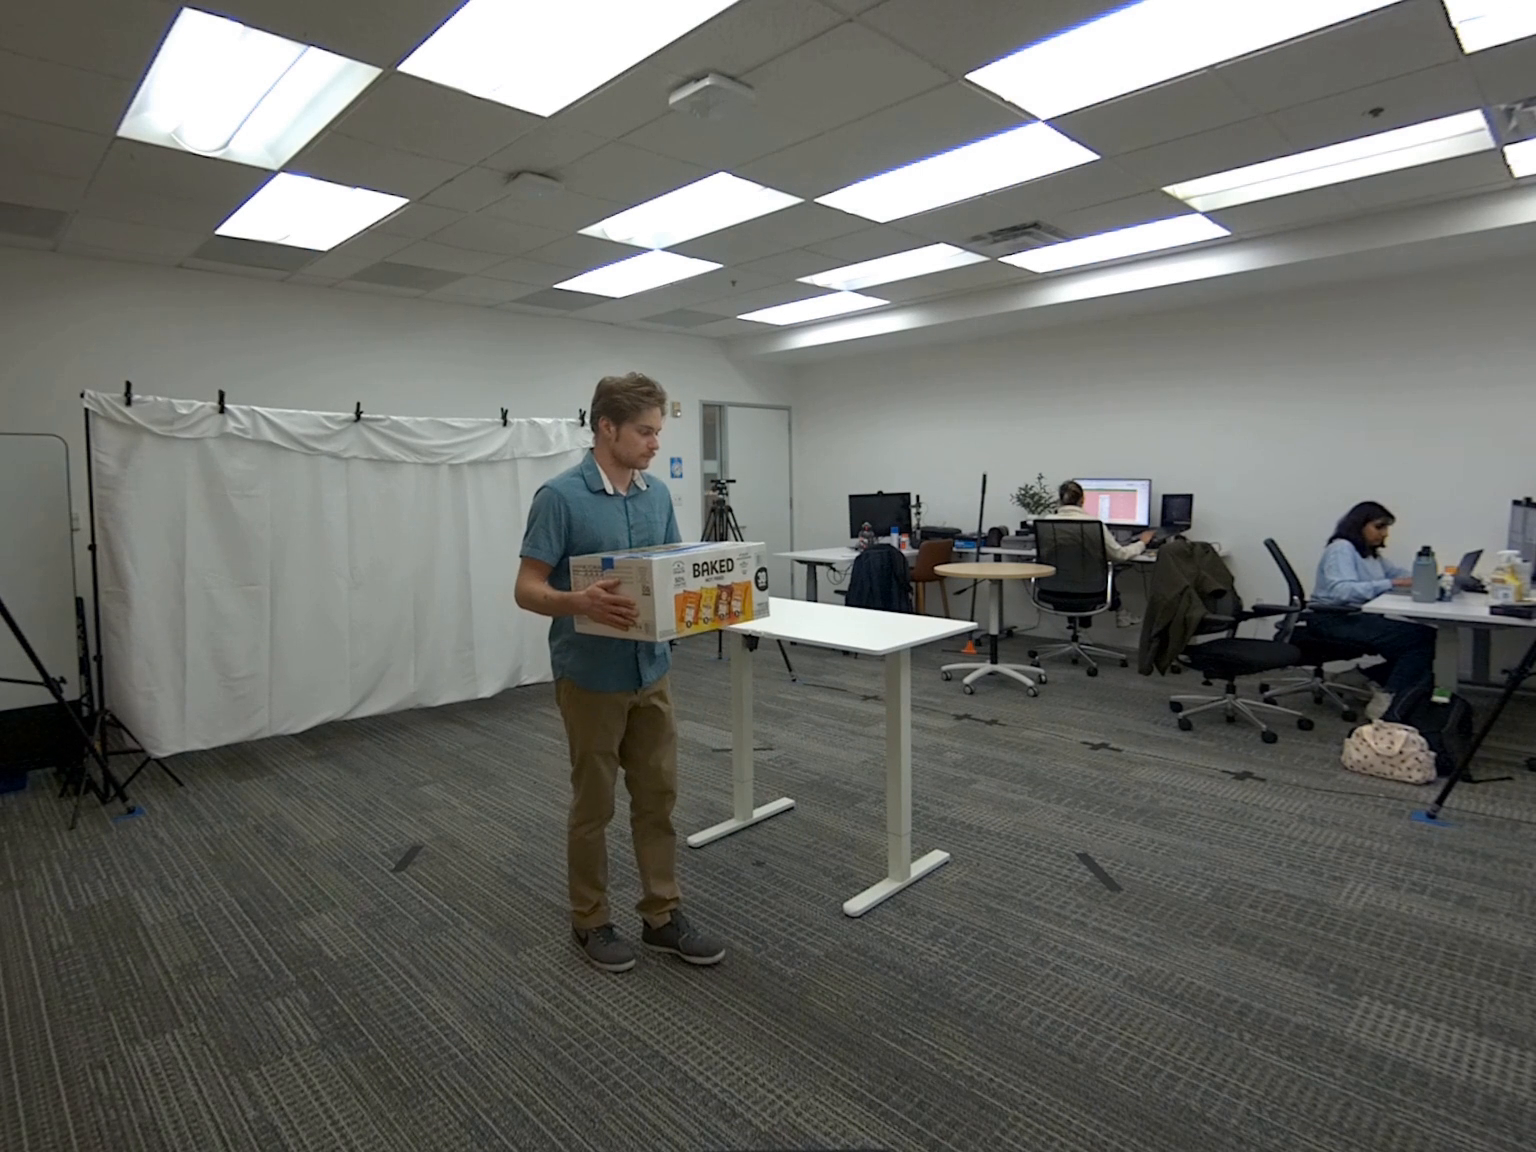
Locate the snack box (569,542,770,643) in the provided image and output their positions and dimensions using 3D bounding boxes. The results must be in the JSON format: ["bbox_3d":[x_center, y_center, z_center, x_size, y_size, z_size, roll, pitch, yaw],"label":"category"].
[{"bbox_3d":[-0.248,0.031,2.270,0.350,0.205,0.395,1,7,41],"label":"snack box"}]
